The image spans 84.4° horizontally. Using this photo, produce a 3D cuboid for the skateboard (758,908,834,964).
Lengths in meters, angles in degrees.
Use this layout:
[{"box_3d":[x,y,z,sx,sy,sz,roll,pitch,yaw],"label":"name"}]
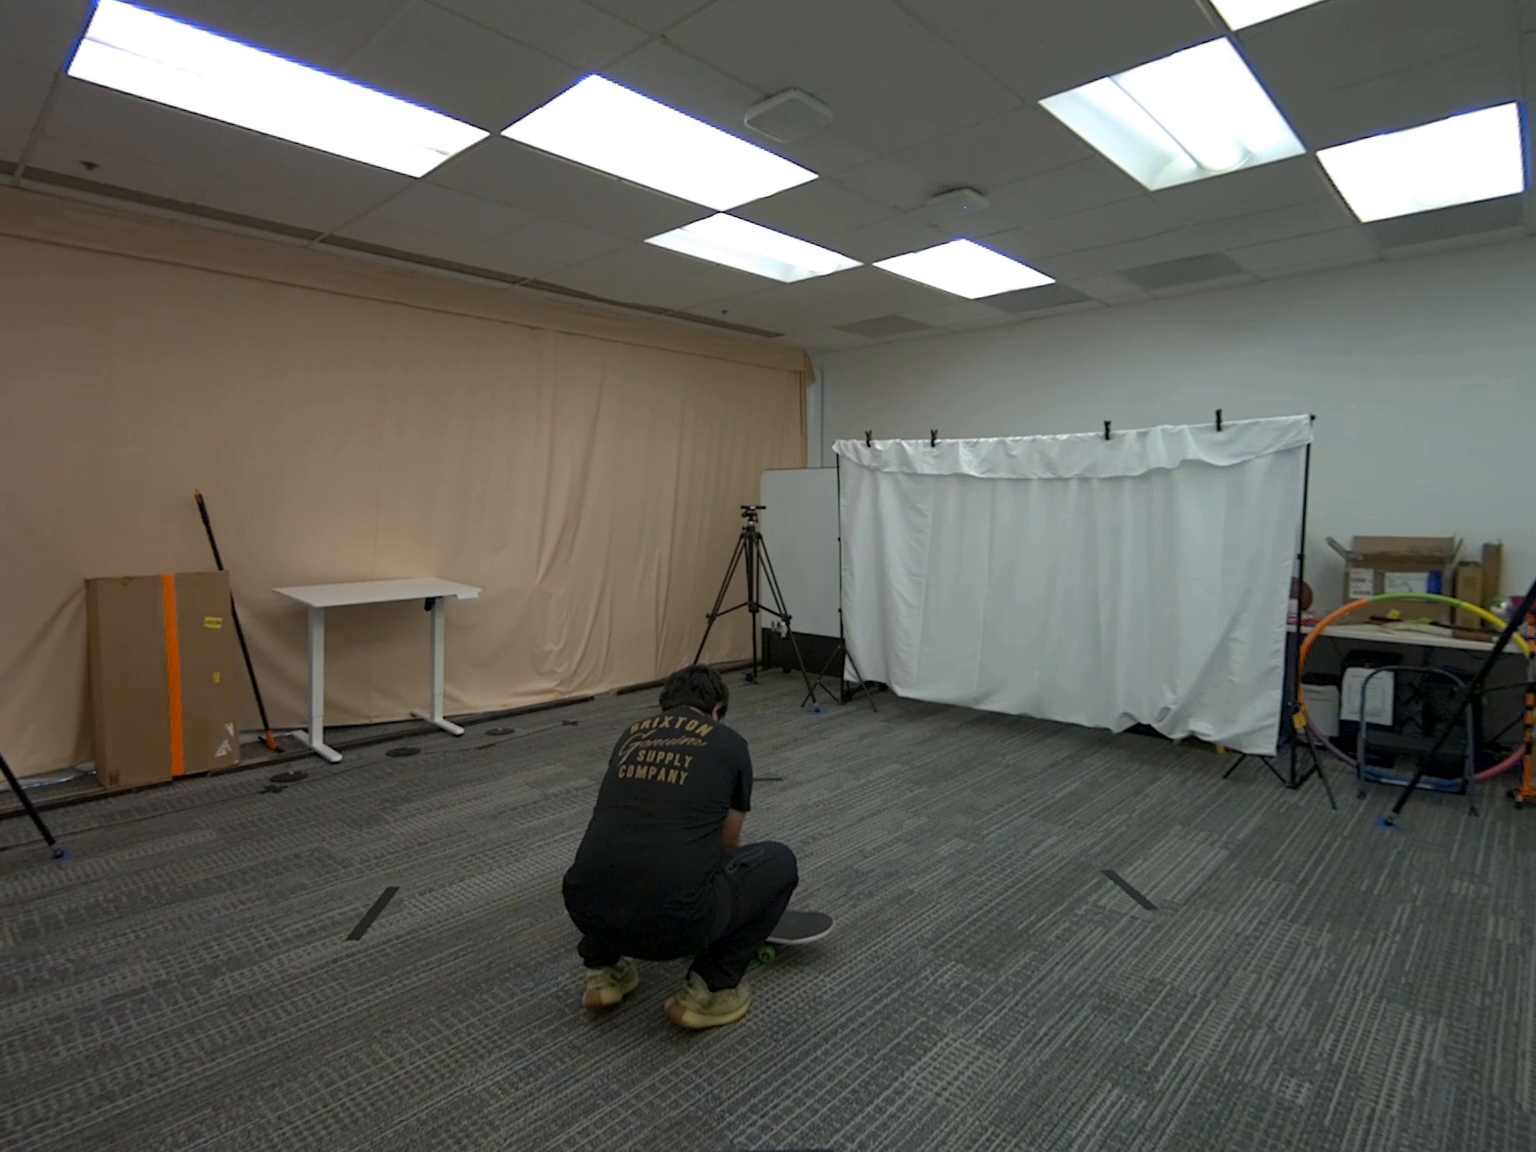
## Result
[{"box_3d":[-0.177,1.109,2.695,0.797,0.110,0.191,0,5,13],"label":"skateboard"}]
